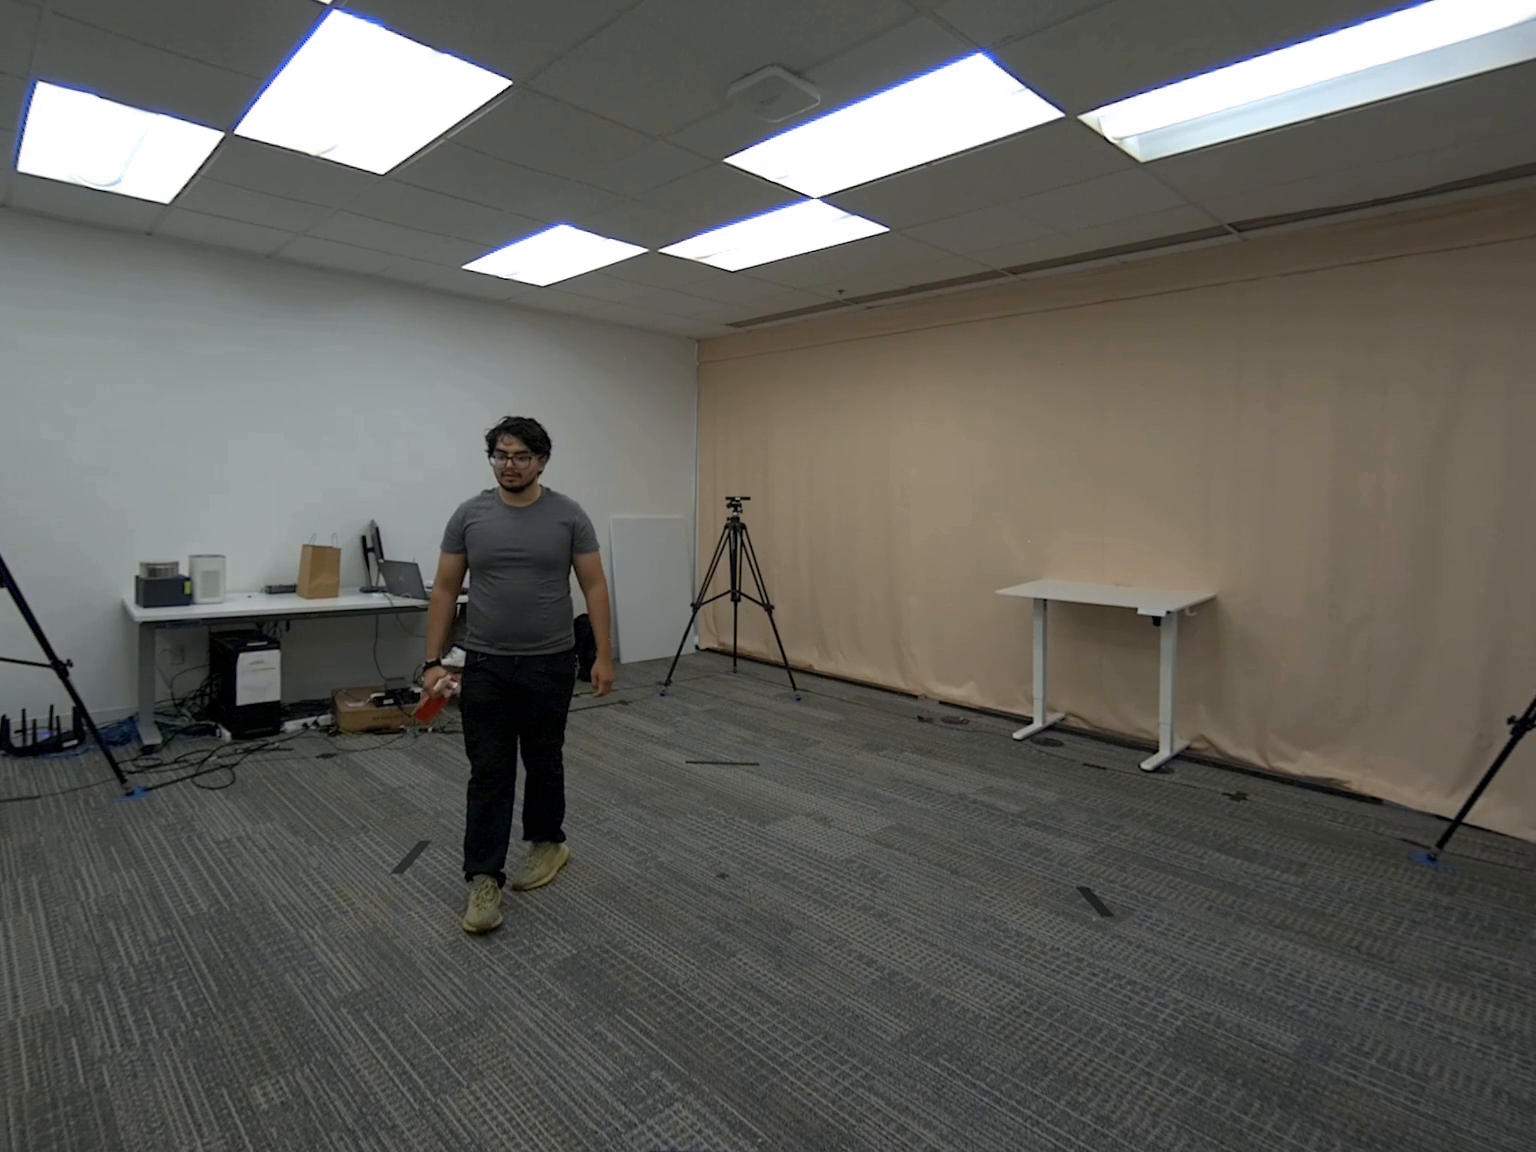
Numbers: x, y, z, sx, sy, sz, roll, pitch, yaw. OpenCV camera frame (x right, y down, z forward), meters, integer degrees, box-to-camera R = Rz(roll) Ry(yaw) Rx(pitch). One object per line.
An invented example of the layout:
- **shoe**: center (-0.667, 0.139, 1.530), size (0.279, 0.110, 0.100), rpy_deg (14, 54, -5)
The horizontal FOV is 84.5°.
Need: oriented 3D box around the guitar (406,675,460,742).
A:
- **guitar**: center (-1.122, 0.418, 2.833), size (0.069, 0.193, 0.504), rpy_deg (36, -16, -17)
